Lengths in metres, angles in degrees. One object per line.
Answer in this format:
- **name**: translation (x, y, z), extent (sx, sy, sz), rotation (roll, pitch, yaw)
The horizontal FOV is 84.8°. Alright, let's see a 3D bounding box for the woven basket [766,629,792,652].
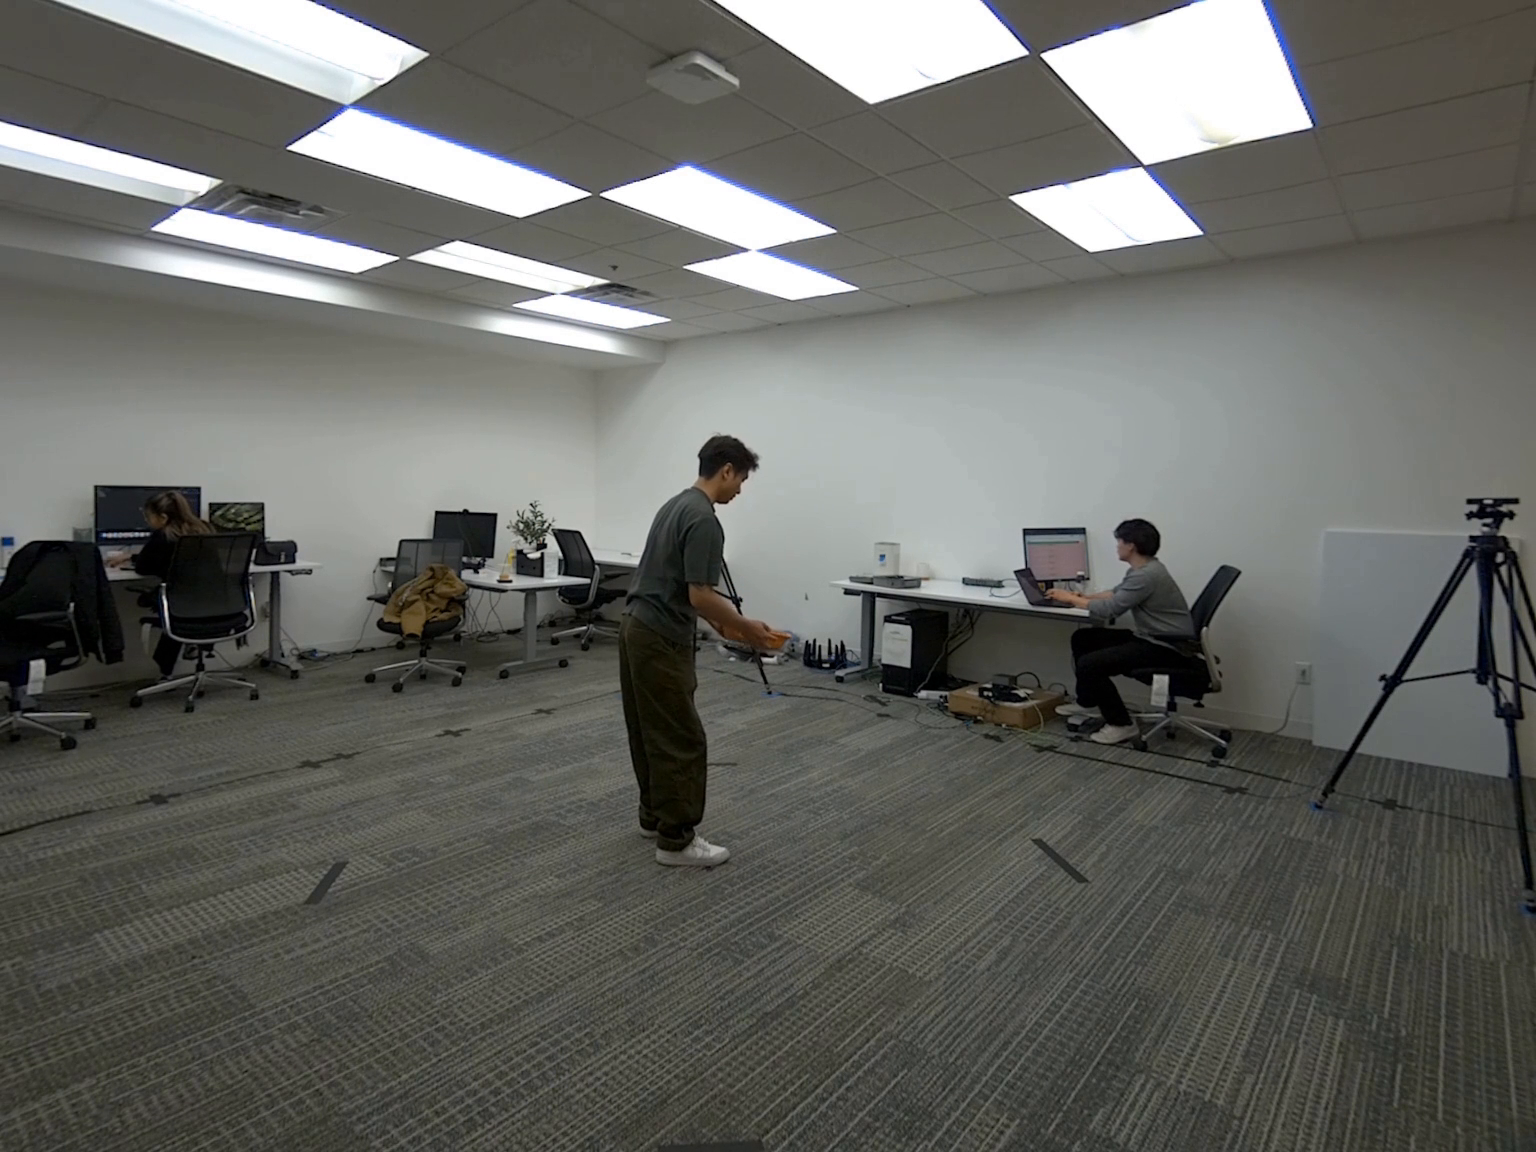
- **woven basket**: translation (-0.065, 0.239, 3.414), extent (0.246, 0.073, 0.359), rotation (12, -1, -23)
